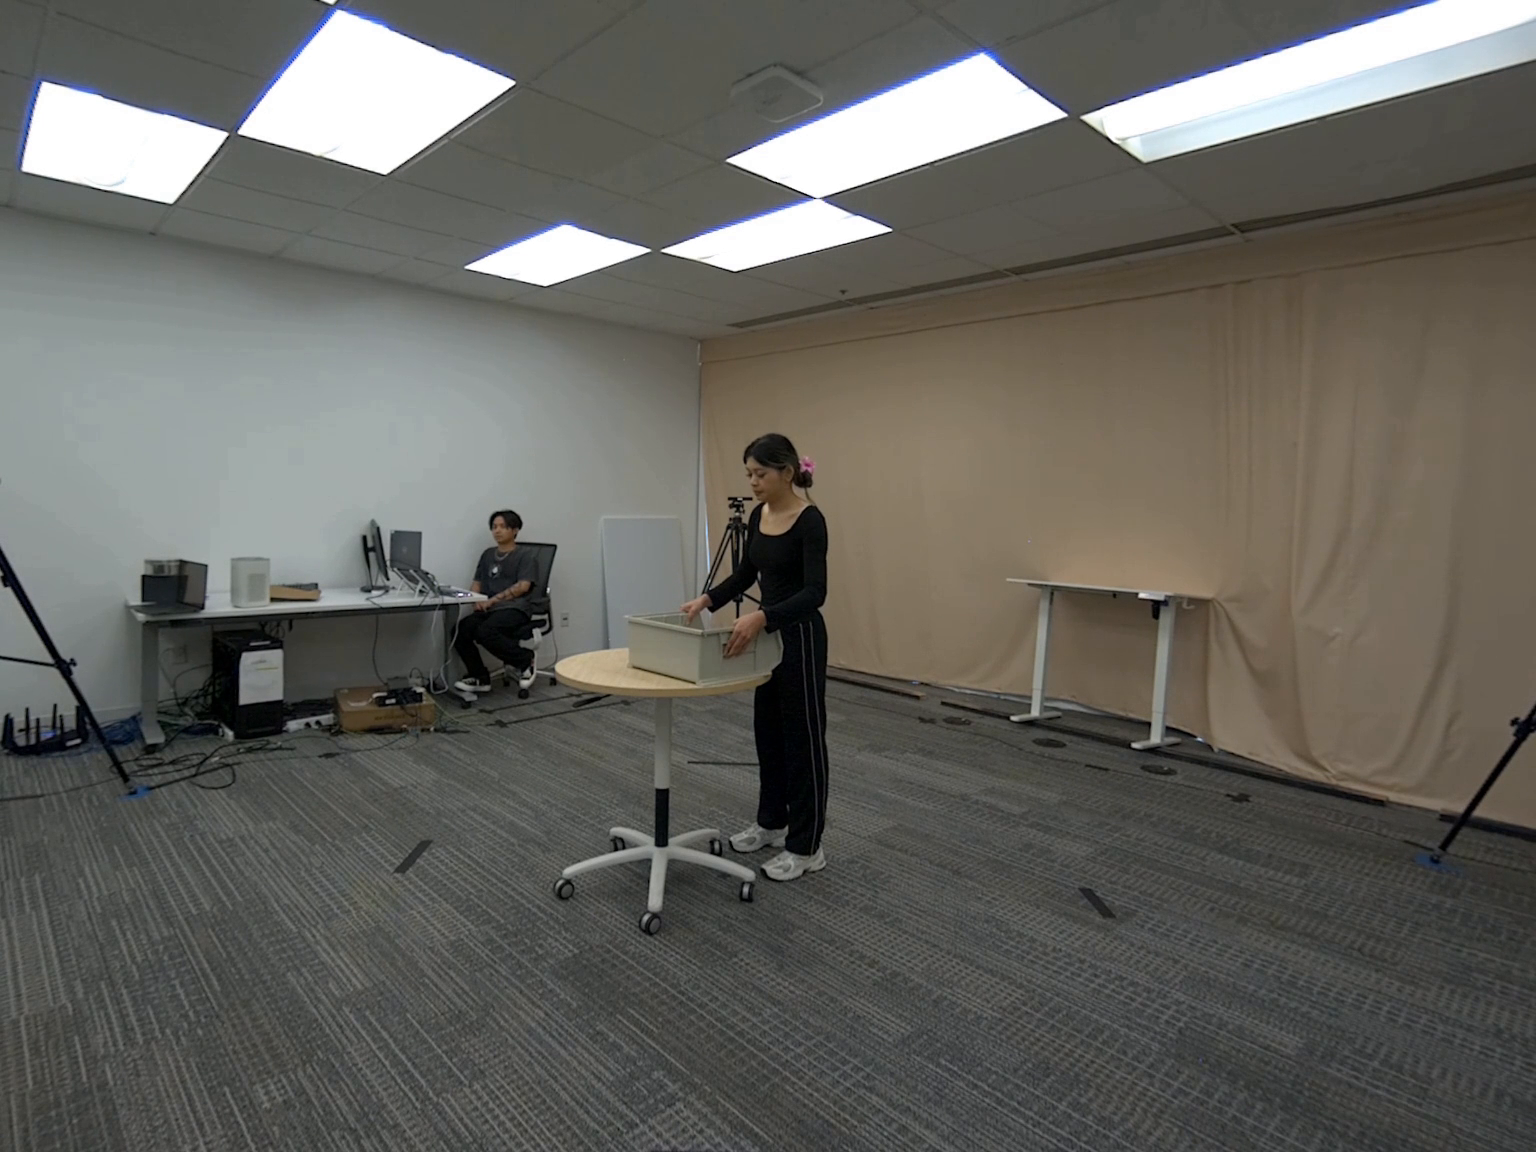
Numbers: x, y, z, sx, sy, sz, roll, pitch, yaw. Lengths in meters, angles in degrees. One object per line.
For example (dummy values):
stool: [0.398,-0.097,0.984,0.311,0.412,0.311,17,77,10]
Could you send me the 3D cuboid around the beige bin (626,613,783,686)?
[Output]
beige bin: [-0.229,0.238,2.917,0.369,0.188,0.433,-6,10,-43]
